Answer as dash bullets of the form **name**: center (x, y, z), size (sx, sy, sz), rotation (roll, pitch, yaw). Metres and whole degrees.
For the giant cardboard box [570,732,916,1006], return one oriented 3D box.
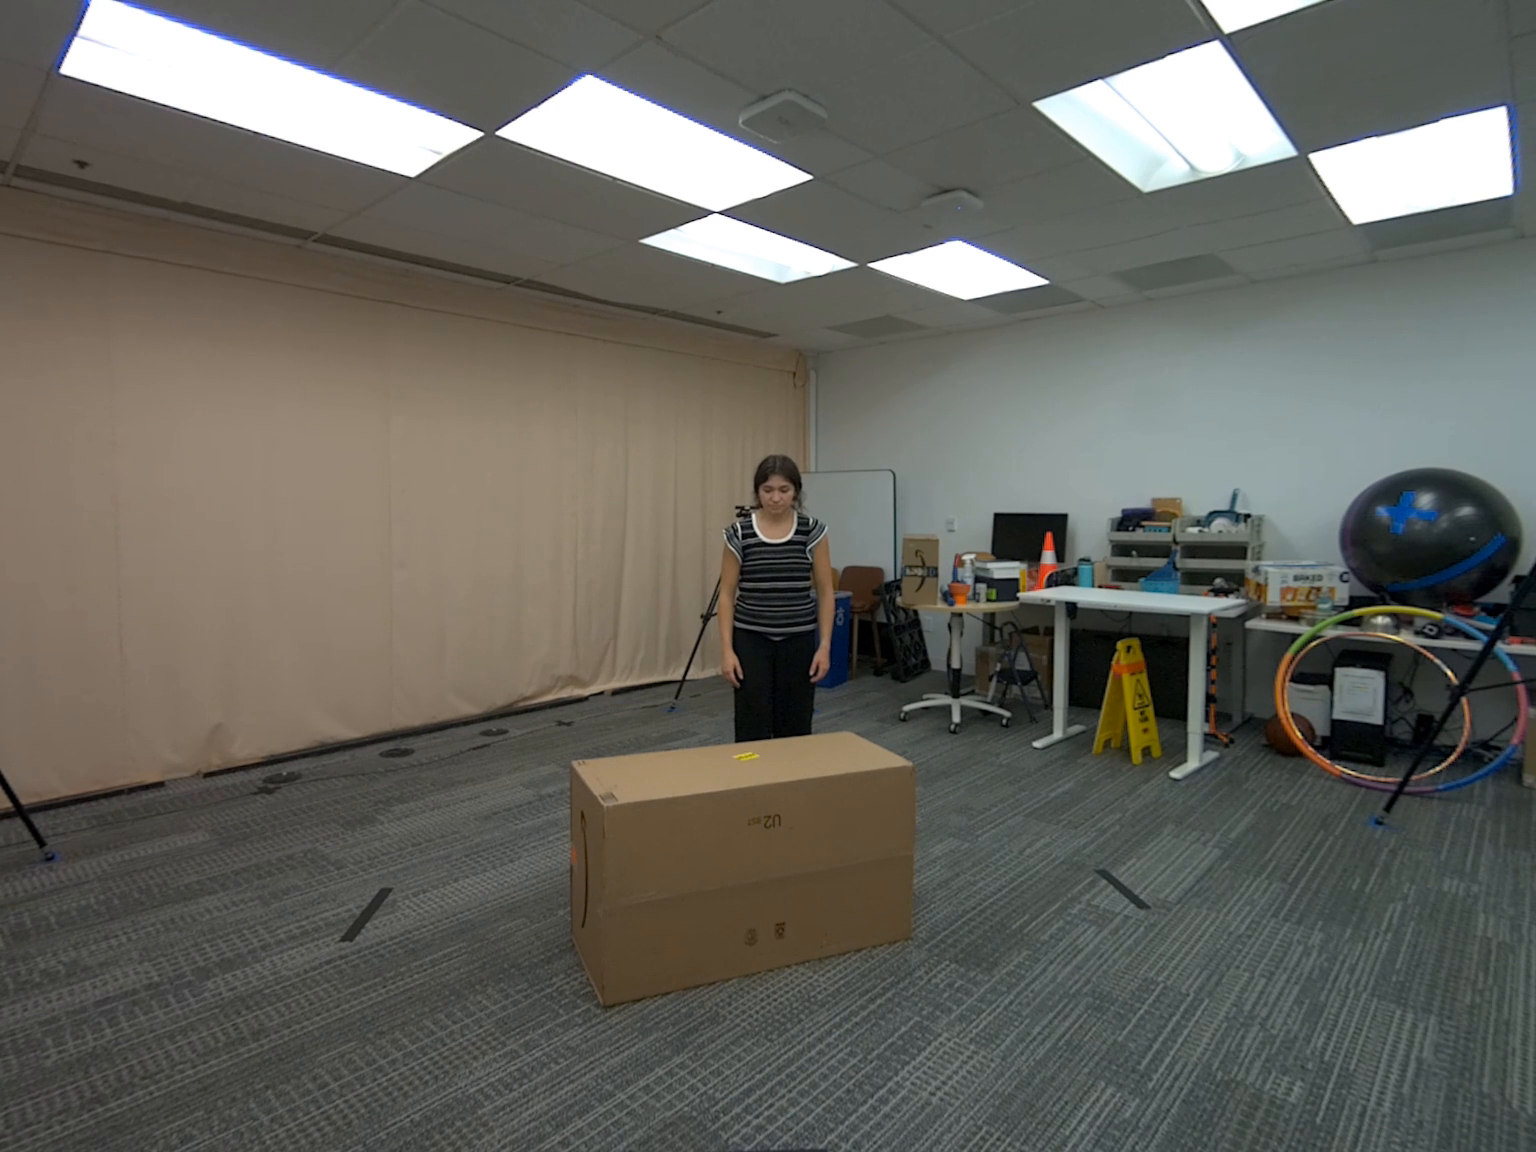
- **giant cardboard box**: center (-0.083, 0.882, 2.696), size (1.003, 0.576, 0.437), rotation (-2, 4, -22)
